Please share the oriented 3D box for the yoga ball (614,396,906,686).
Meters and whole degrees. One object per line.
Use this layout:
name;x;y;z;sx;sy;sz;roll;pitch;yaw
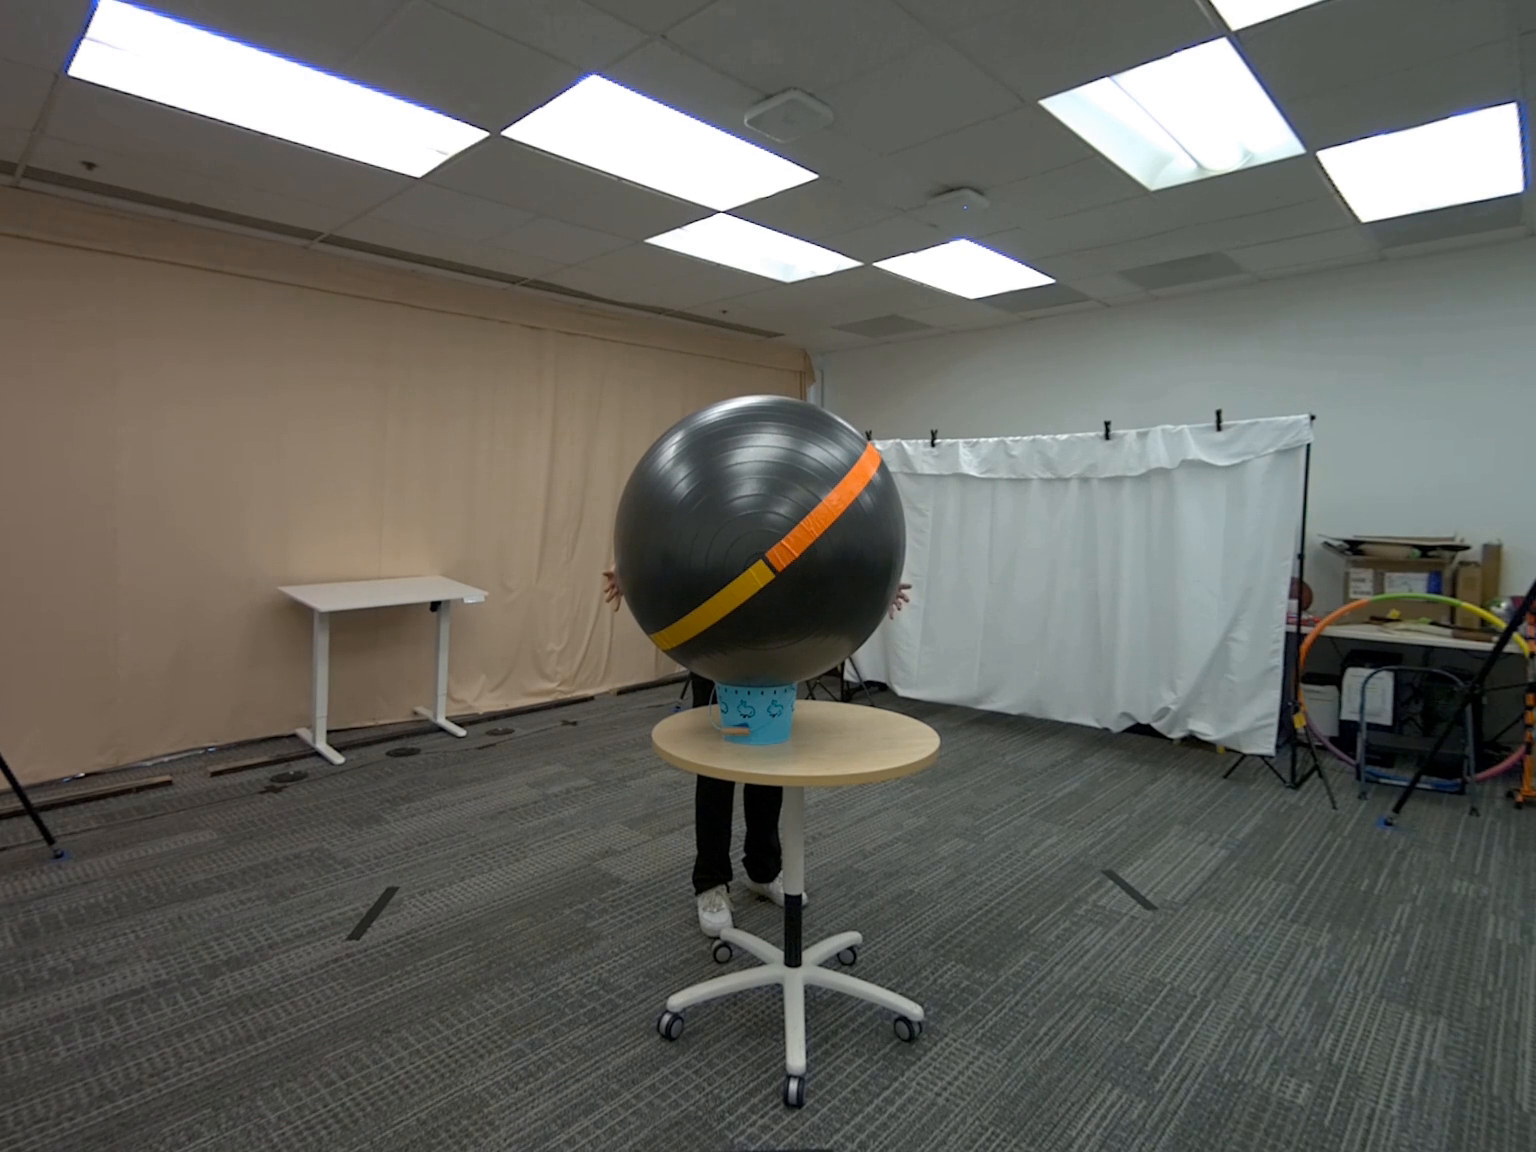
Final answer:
yoga ball;-0.022;-0.086;2.202;0.757;0.756;0.760;0;4;-2
